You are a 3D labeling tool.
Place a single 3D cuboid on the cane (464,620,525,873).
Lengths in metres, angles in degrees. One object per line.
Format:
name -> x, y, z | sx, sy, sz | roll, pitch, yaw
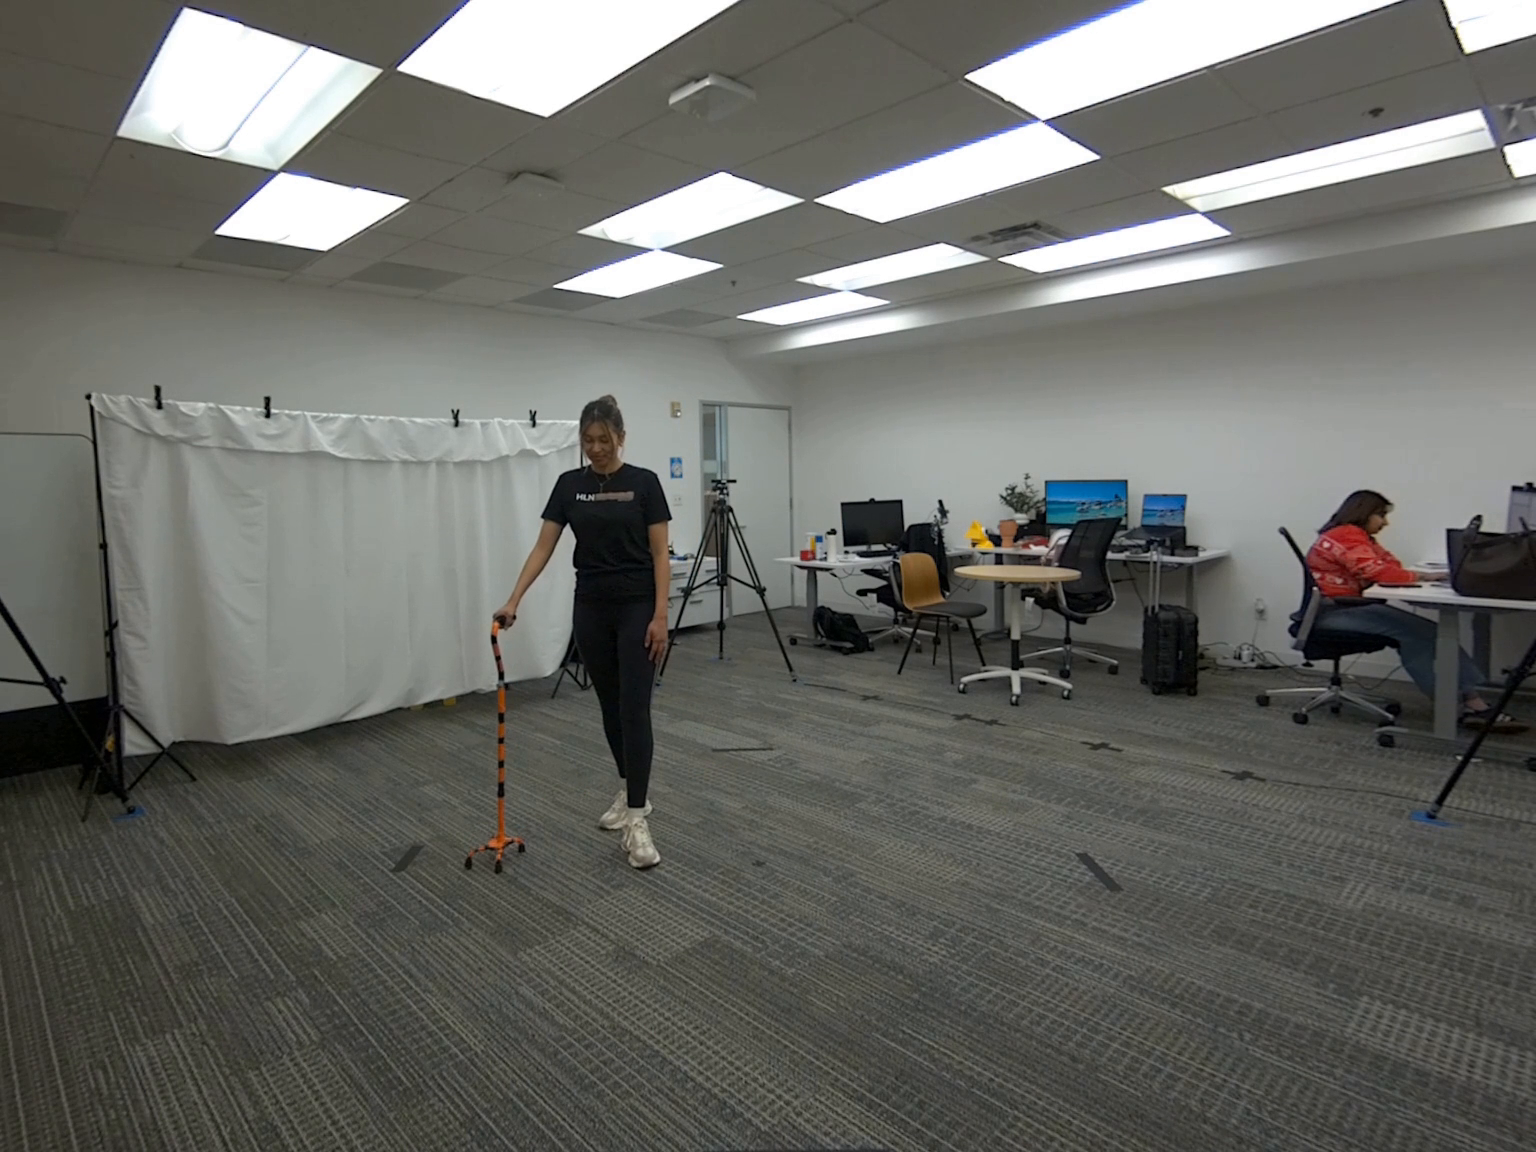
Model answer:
cane -> -0.997, 0.604, 3.165 | 0.153, 0.905, 0.205 | 2, 3, 9
